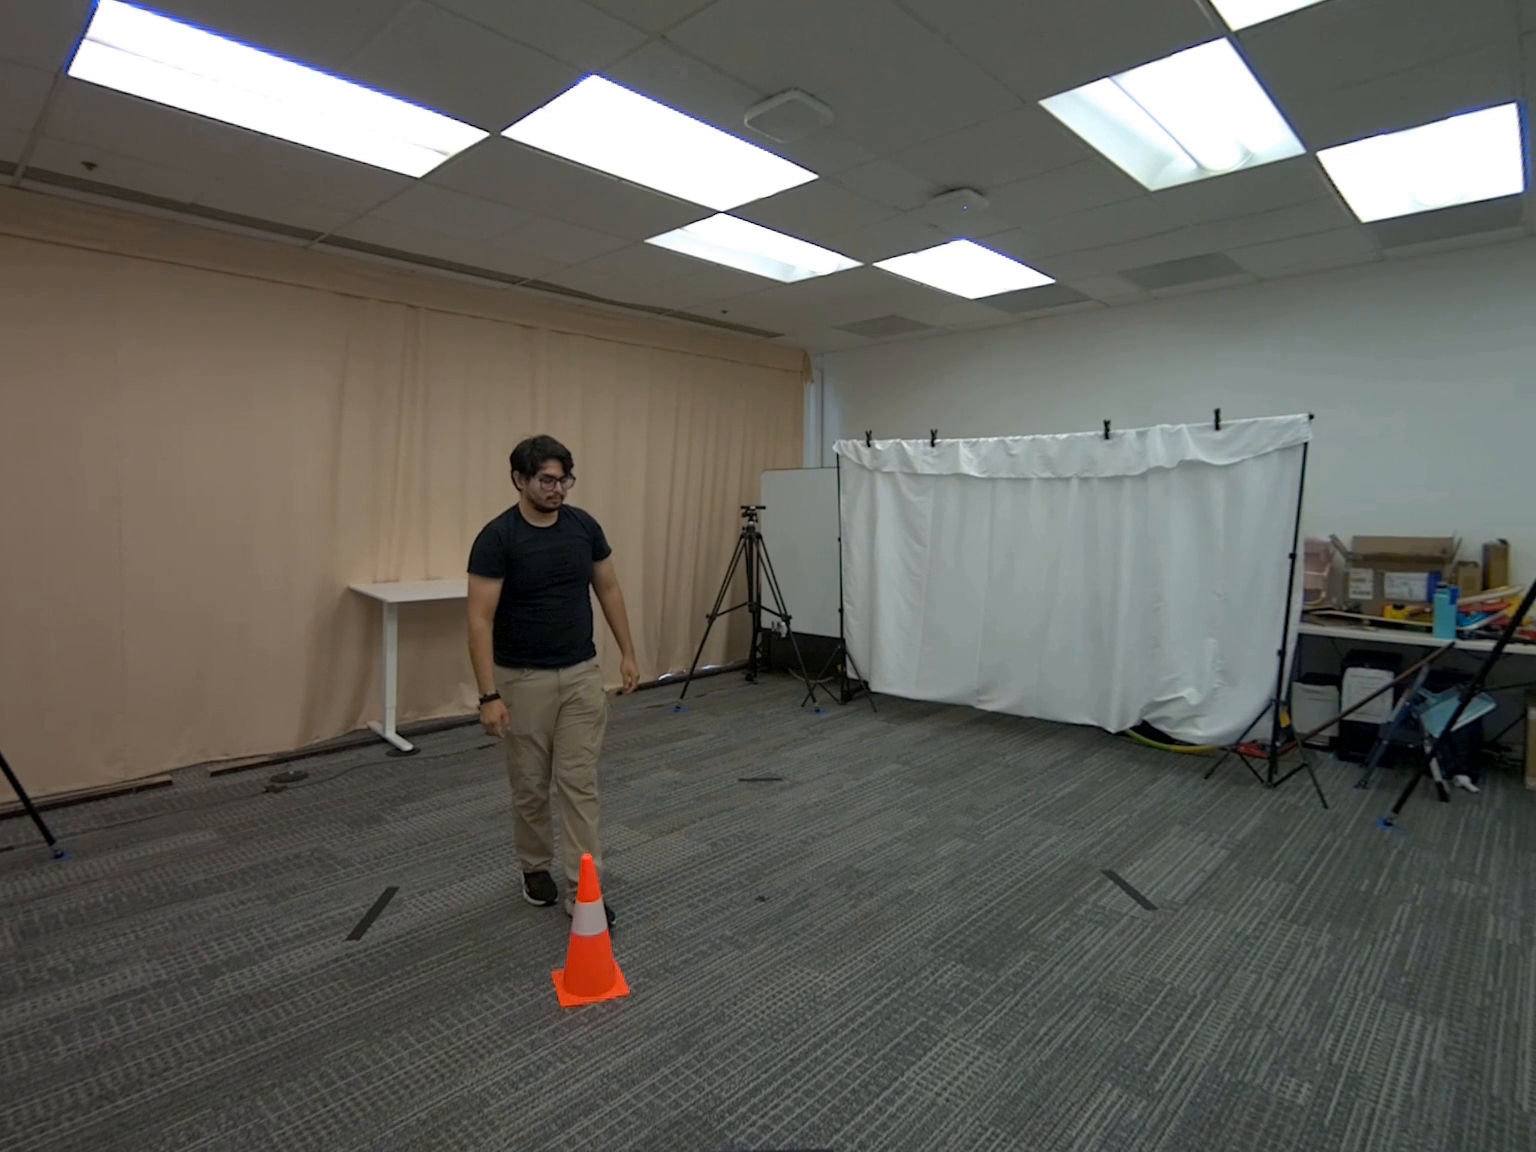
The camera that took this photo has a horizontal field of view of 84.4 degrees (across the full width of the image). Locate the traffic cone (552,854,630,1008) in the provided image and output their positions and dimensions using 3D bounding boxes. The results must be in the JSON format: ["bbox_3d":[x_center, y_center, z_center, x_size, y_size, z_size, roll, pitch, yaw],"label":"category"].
[{"bbox_3d":[-0.525,1.010,2.451,0.199,0.383,0.210,-1,2,-22],"label":"traffic cone"}]
